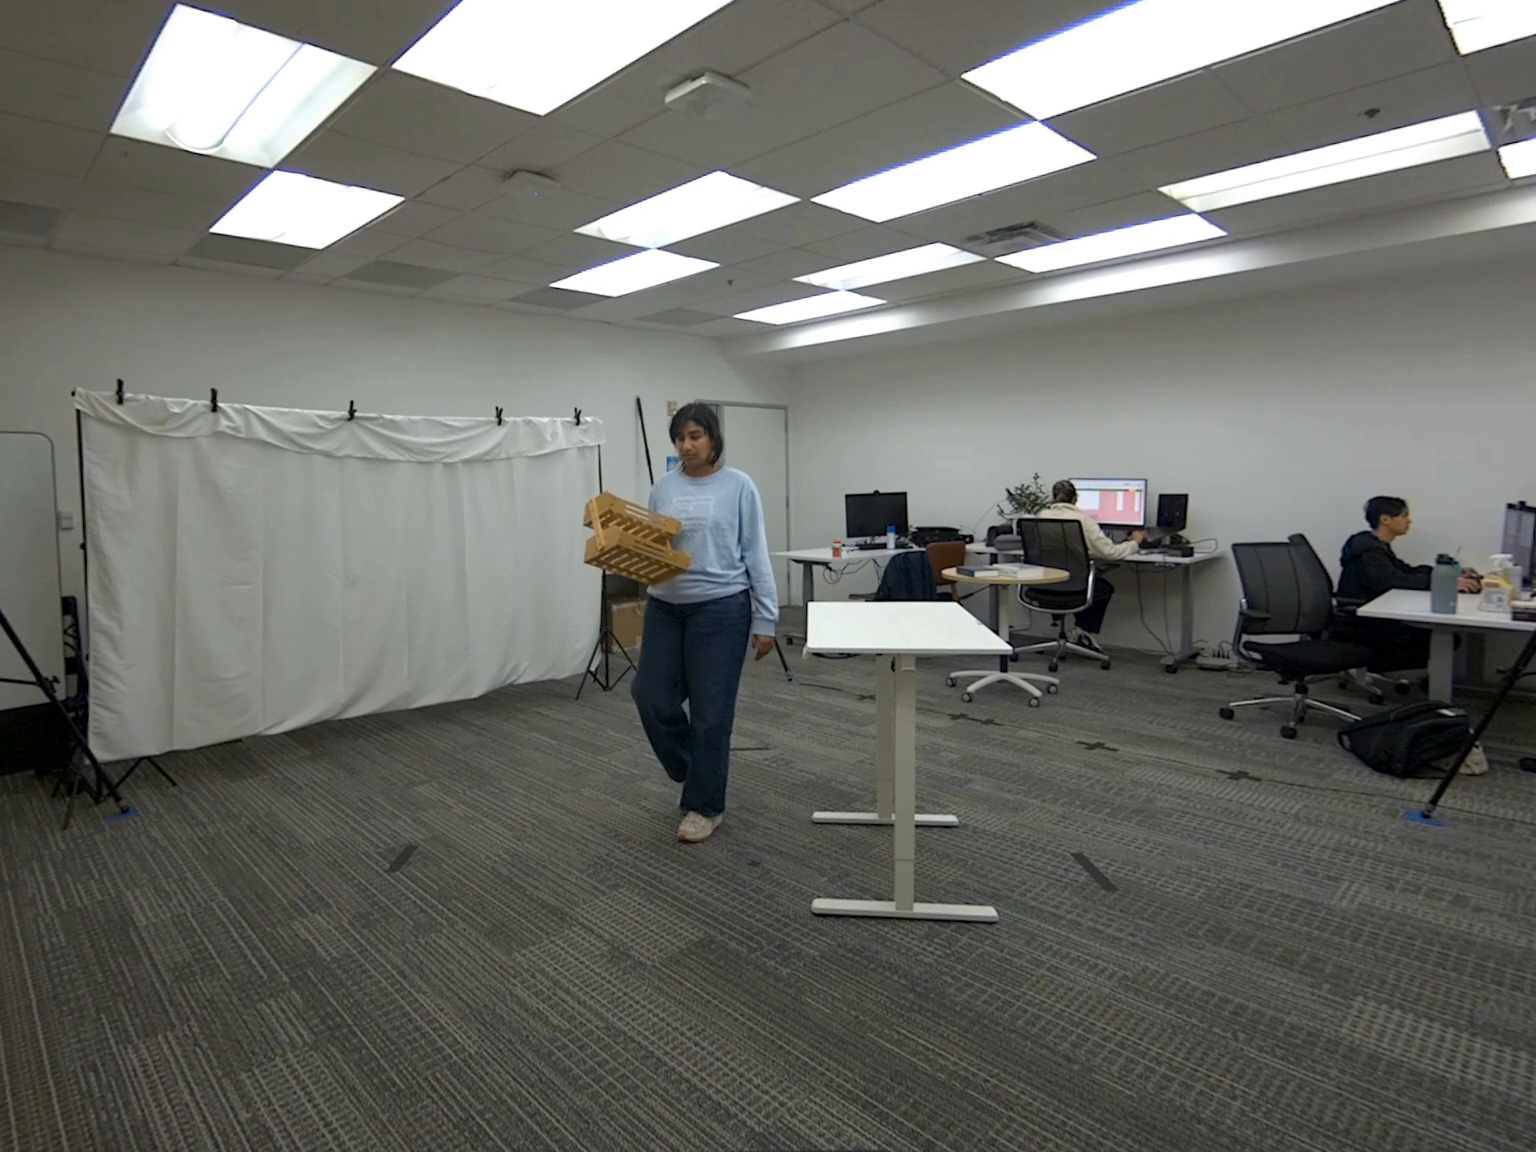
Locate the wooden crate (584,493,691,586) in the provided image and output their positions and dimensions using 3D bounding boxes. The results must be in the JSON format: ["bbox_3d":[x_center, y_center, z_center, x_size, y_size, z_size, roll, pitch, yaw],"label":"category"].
[{"bbox_3d":[-0.494,-0.151,3.147,0.313,0.279,0.306,22,-30,-35],"label":"wooden crate"}]
